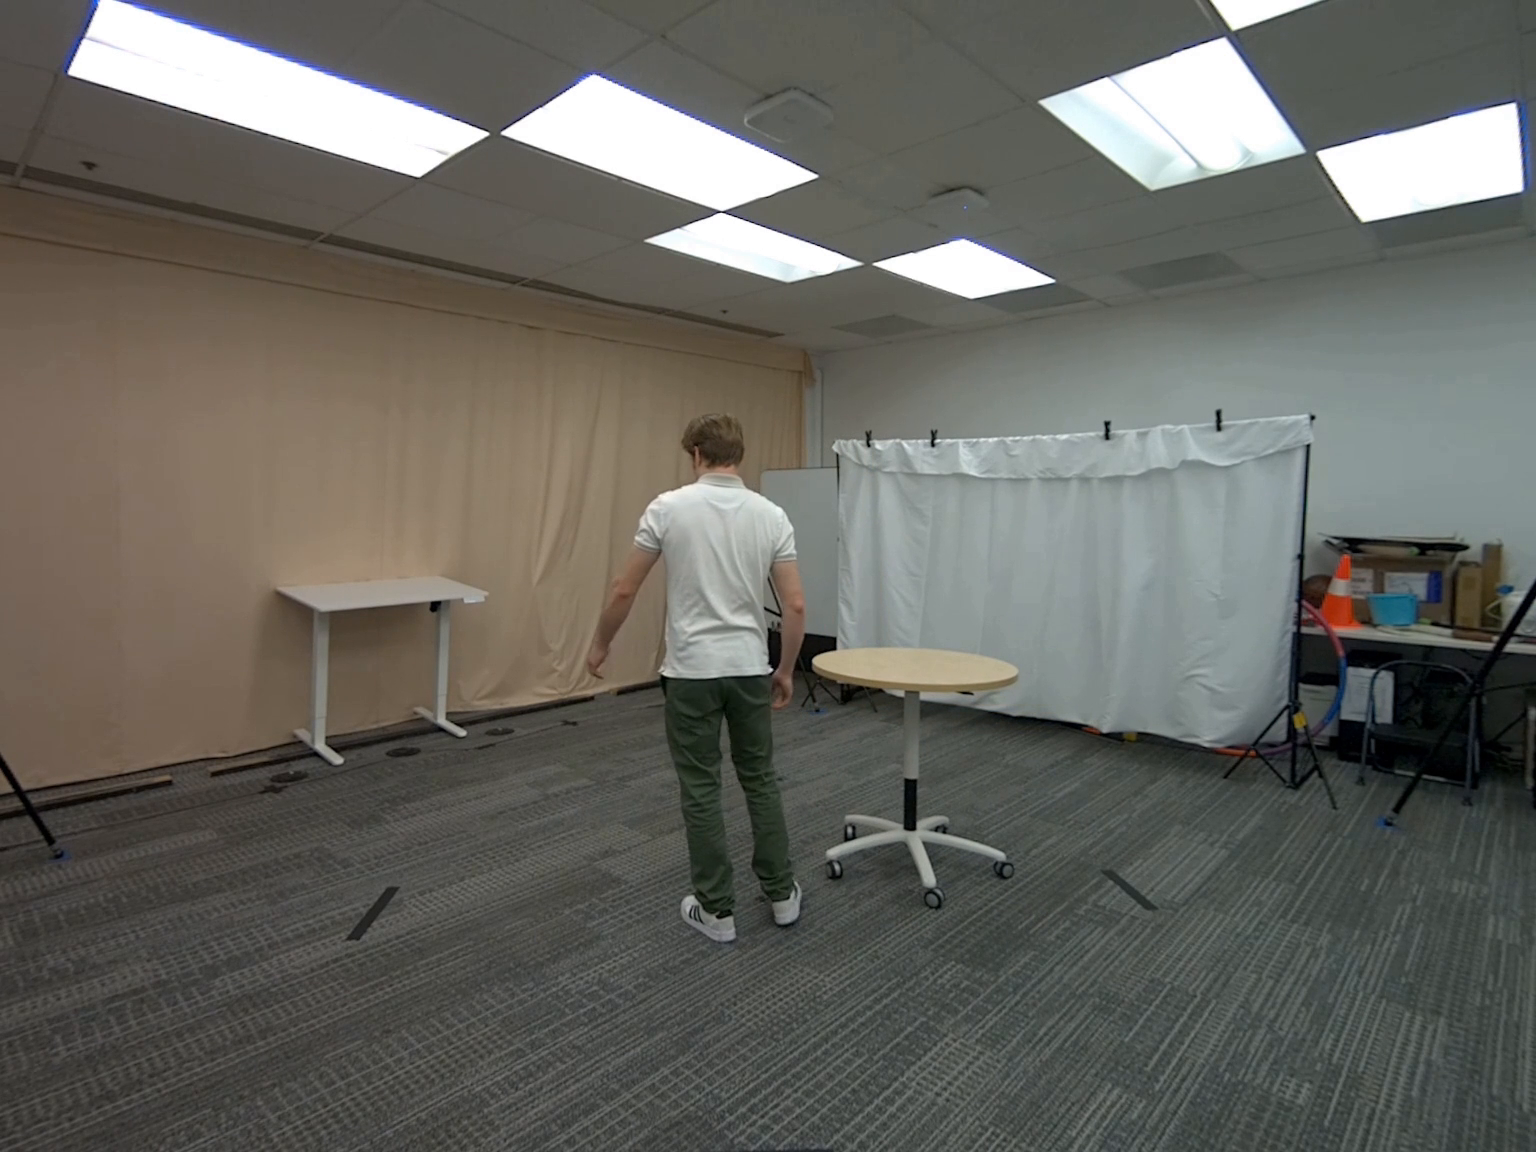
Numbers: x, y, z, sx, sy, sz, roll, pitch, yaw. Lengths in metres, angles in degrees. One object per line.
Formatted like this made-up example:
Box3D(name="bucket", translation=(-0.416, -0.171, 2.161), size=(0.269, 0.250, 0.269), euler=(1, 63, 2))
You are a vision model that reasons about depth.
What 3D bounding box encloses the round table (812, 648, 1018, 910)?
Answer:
Box3D(name="round table", translation=(0.558, 0.733, 3.248), size=(0.763, 0.792, 0.766), euler=(1, 3, -2))
